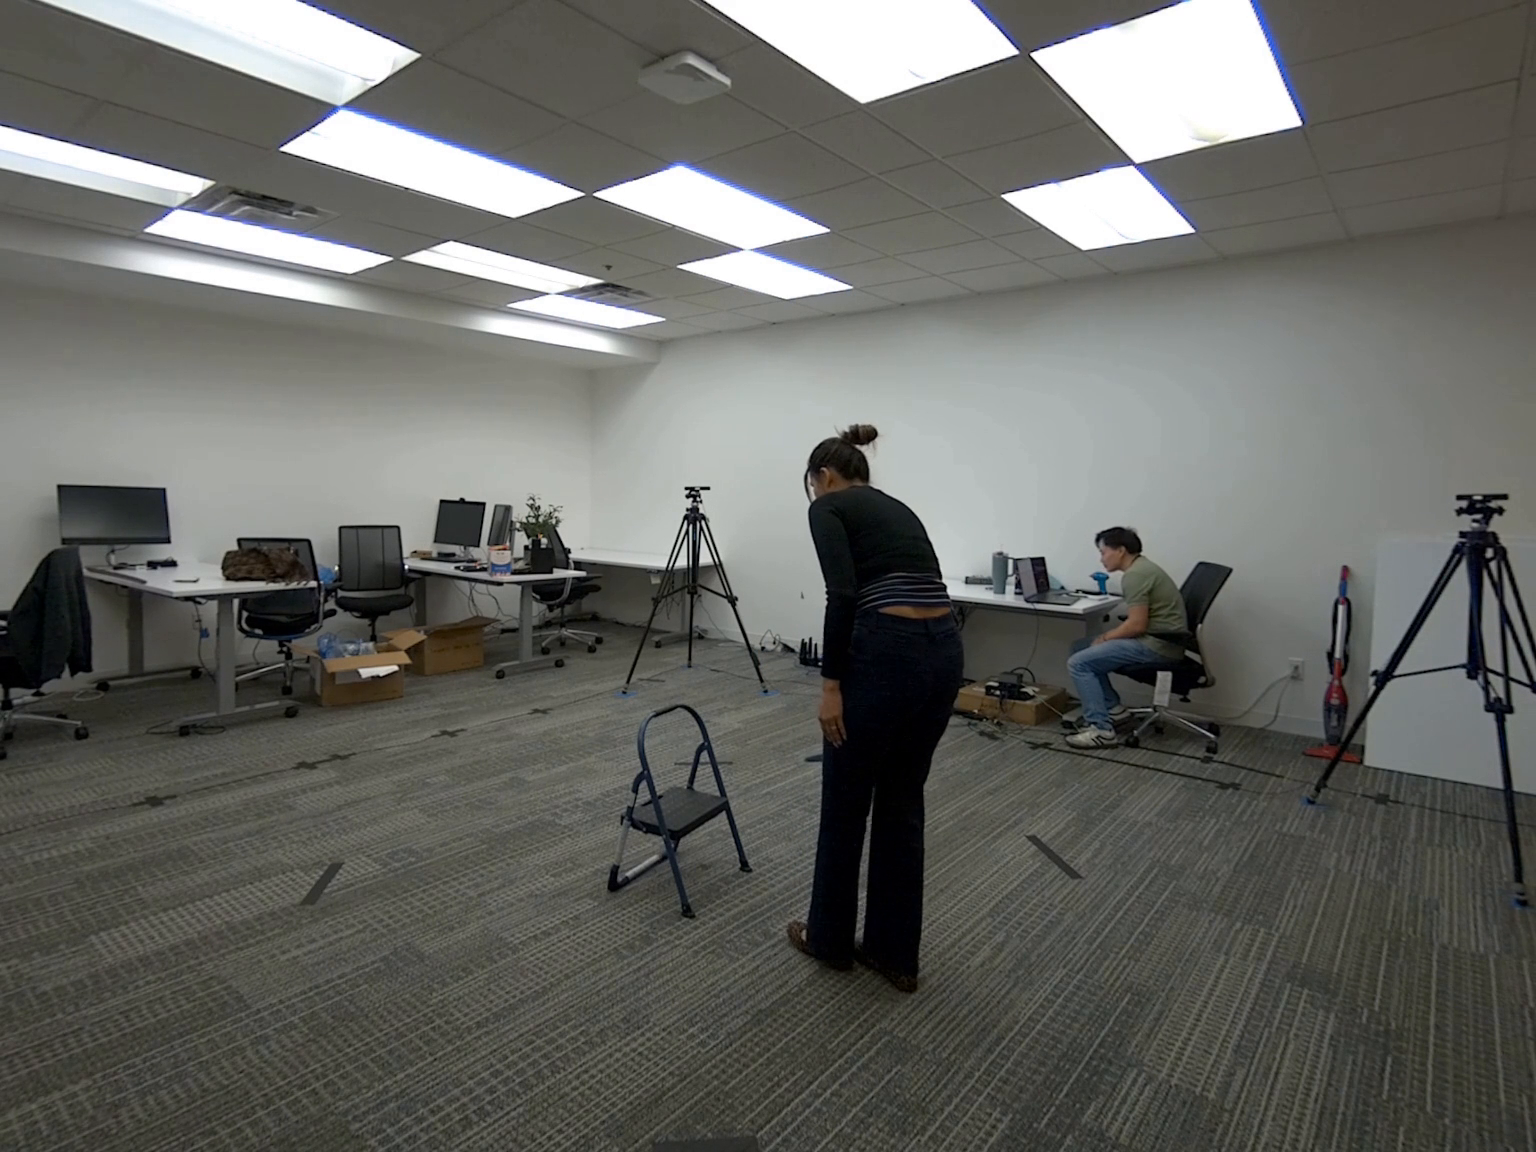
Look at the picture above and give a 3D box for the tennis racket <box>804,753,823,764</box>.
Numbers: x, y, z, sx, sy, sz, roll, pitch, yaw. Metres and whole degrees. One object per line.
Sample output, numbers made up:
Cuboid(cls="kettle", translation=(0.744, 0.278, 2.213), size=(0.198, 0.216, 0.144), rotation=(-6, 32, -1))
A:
Cuboid(cls="tennis racket", translation=(0.269, 0.574, 2.788), size=(0.206, 0.032, 0.440), rotation=(10, -22, -40))
